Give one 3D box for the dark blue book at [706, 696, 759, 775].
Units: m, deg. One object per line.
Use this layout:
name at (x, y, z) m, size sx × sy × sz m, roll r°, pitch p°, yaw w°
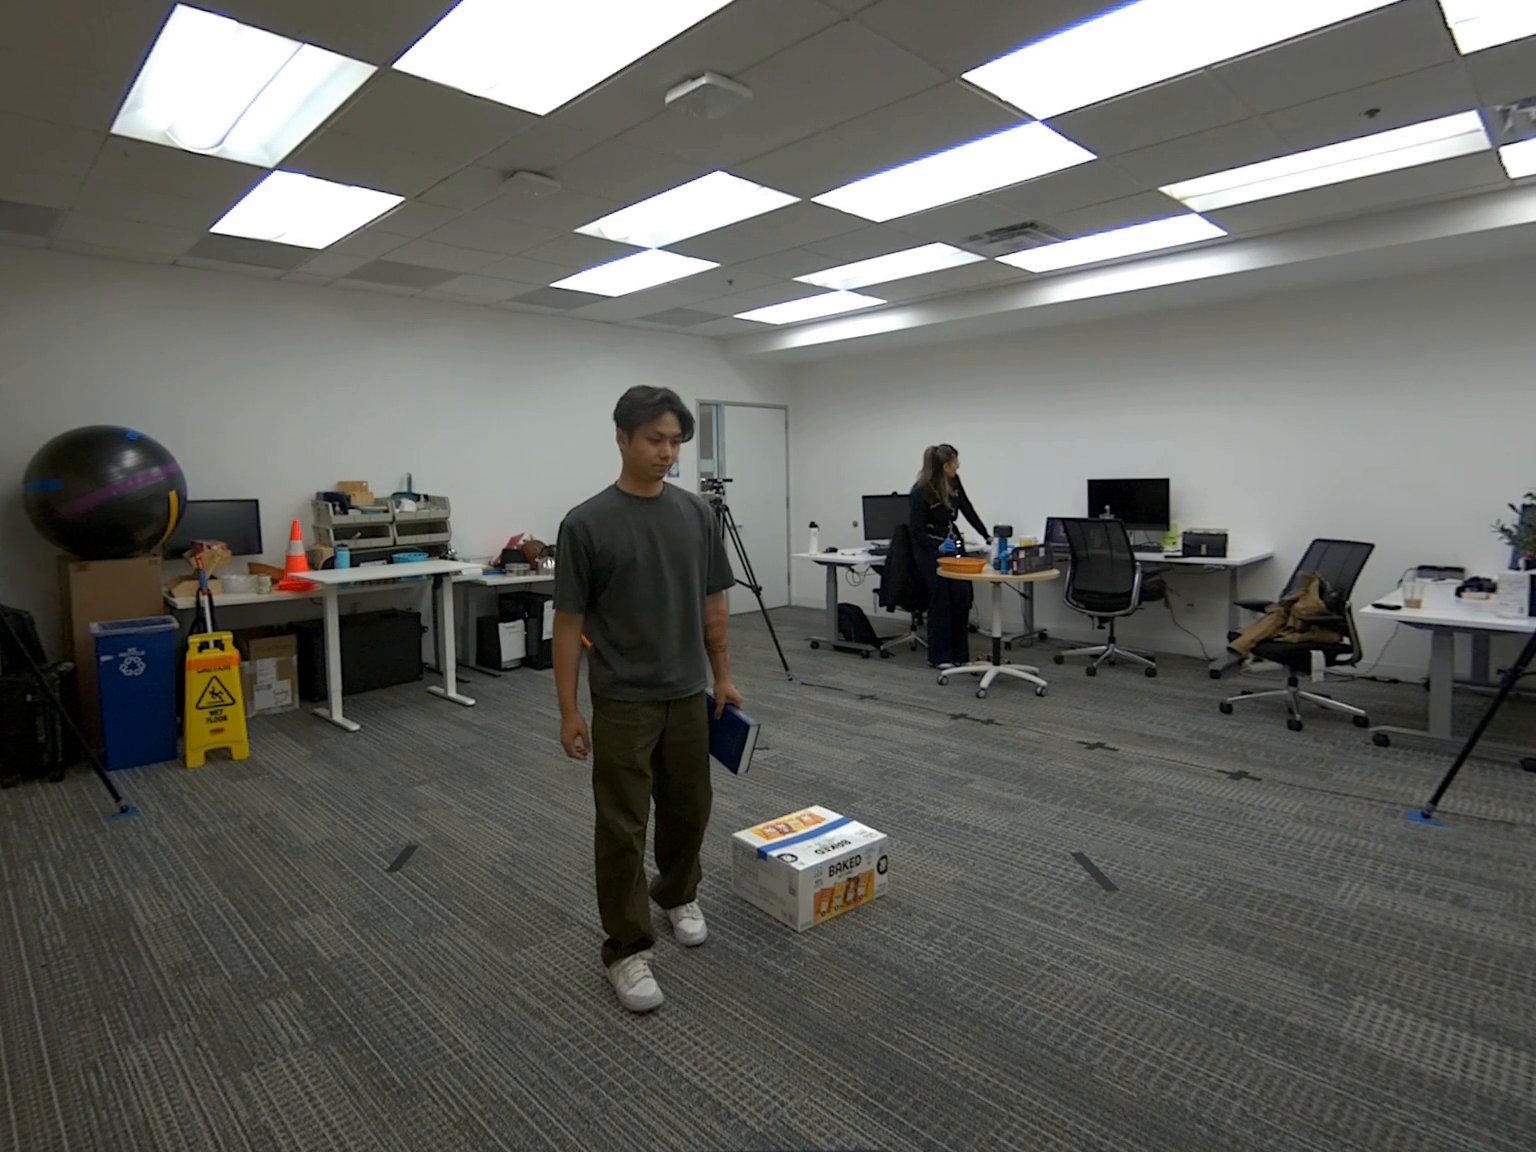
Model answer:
dark blue book at (-0.134, 0.469, 2.585) m, size 0.044 × 0.162 × 0.254 m, roll 3°, pitch 16°, yaw -42°
